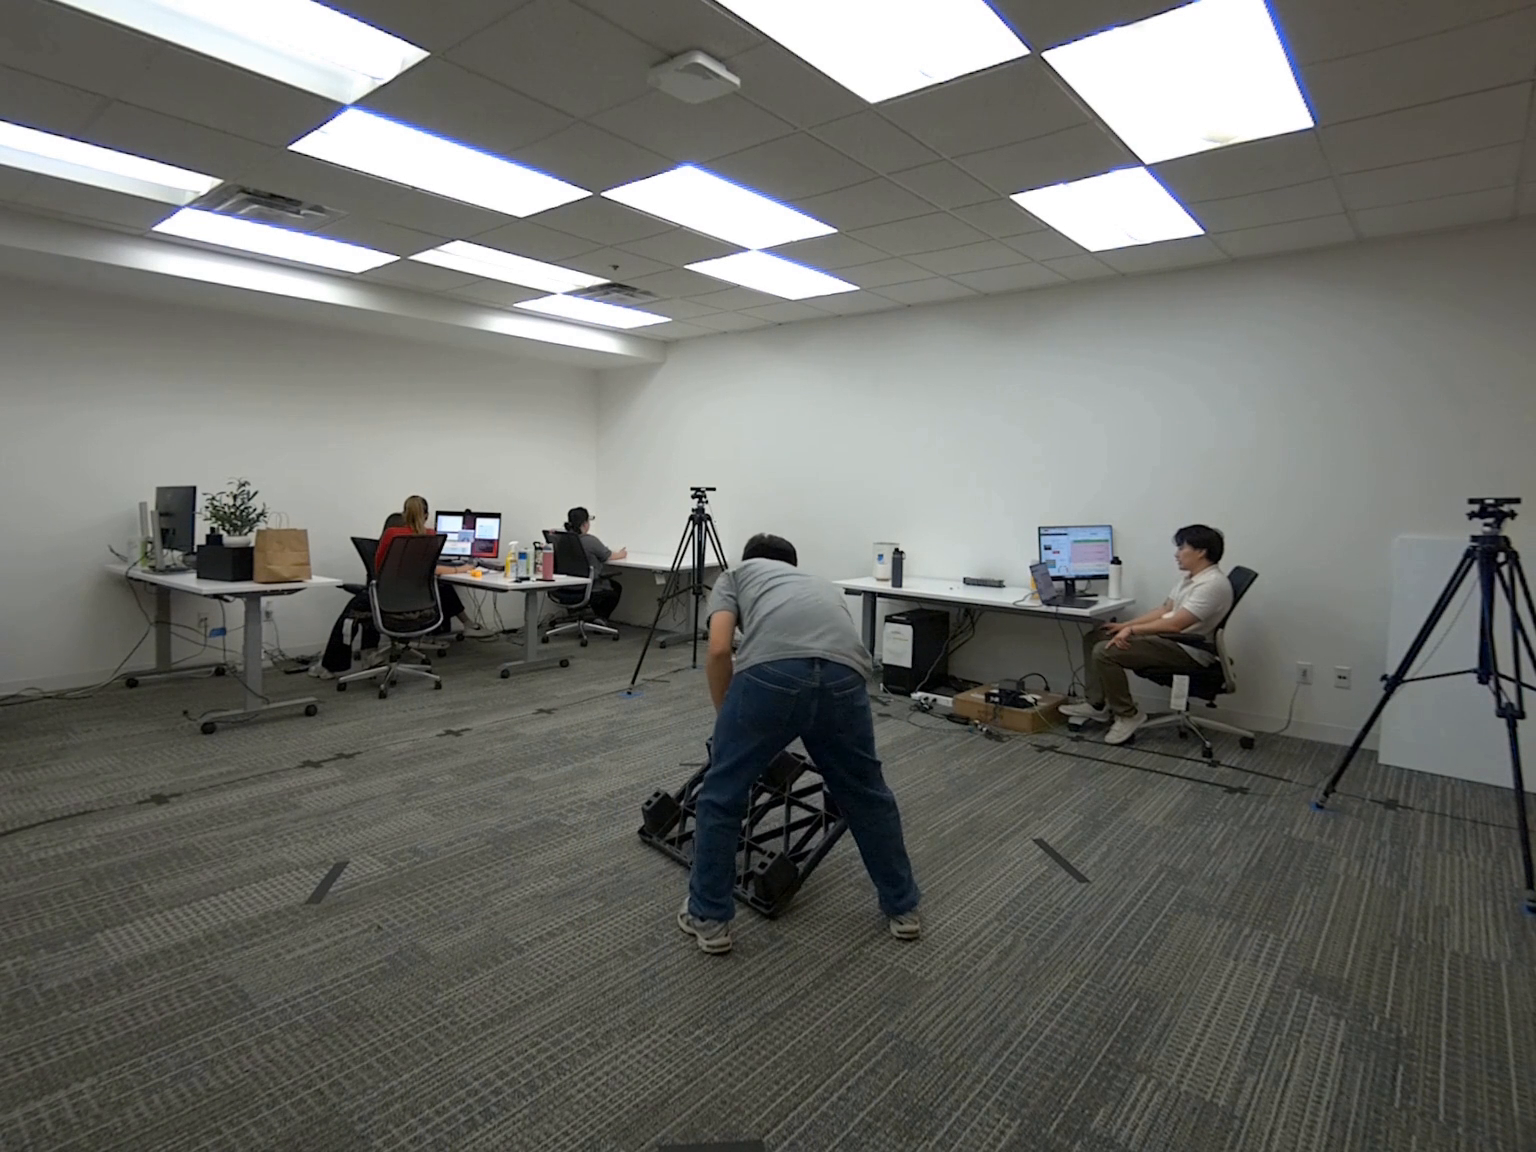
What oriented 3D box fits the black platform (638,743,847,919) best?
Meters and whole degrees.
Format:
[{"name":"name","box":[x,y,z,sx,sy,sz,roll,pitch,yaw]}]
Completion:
[{"name":"black platform","box":[-0.092,0.852,3.166,0.602,0.139,0.833,-42,29,-29]}]
